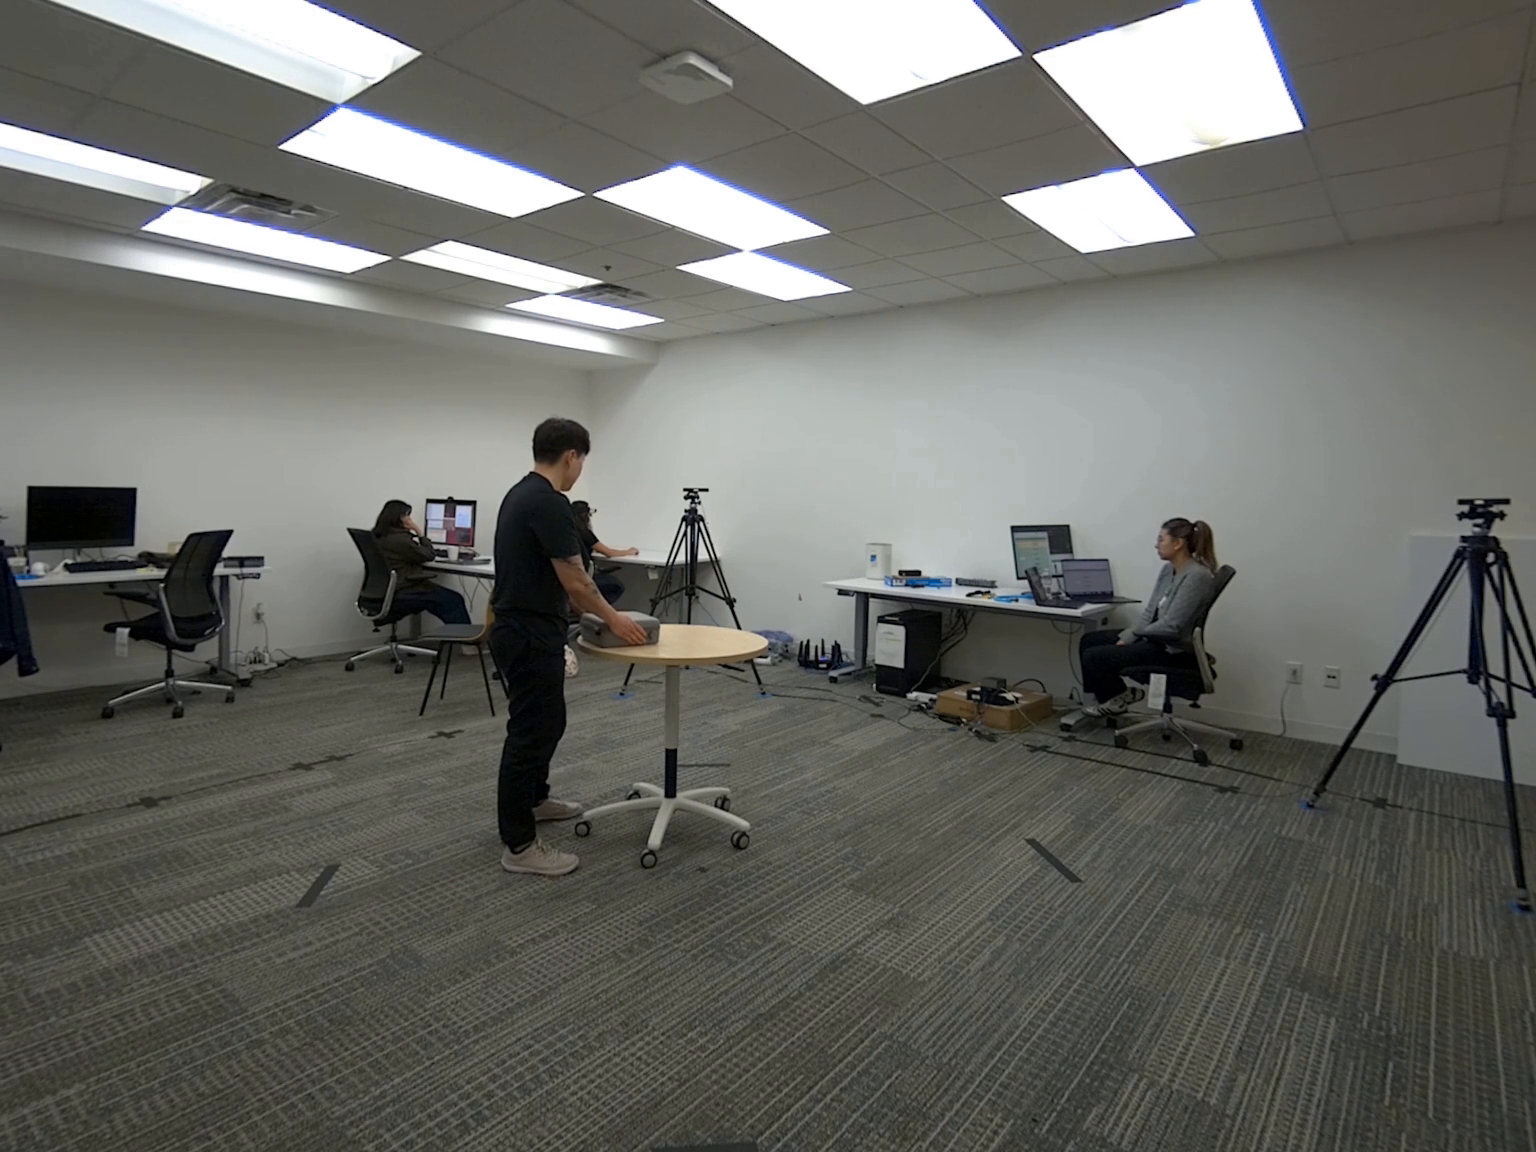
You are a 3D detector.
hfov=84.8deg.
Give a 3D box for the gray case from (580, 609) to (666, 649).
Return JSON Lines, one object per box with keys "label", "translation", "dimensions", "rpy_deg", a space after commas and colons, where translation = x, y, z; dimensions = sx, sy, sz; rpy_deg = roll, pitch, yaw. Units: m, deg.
{"label": "gray case", "translation": [-0.583, 0.204, 3.351], "dimensions": [0.254, 0.104, 0.264], "rpy_deg": [-2, 5, -29]}
